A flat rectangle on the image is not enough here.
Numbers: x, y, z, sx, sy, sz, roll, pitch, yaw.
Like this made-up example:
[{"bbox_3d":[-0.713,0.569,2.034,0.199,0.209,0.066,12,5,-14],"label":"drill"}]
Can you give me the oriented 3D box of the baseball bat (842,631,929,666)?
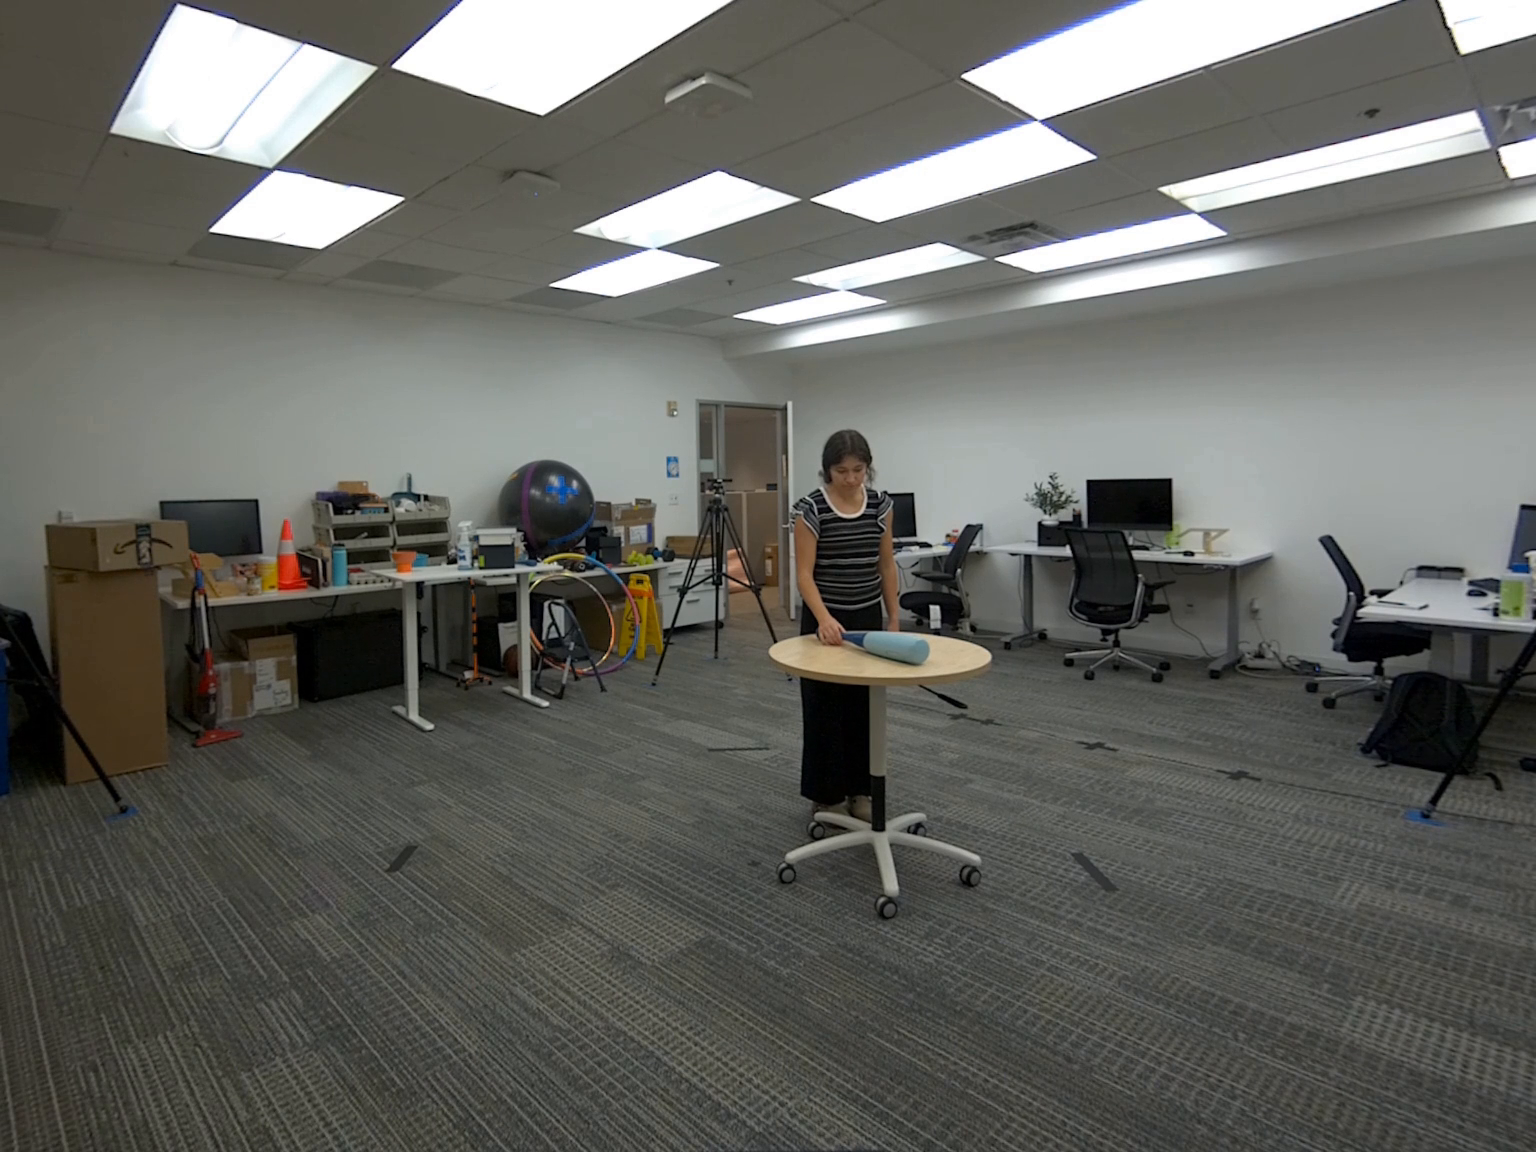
[{"bbox_3d":[0.353,0.235,3.002,0.087,0.089,0.557,-4,5,-31],"label":"baseball bat"}]
